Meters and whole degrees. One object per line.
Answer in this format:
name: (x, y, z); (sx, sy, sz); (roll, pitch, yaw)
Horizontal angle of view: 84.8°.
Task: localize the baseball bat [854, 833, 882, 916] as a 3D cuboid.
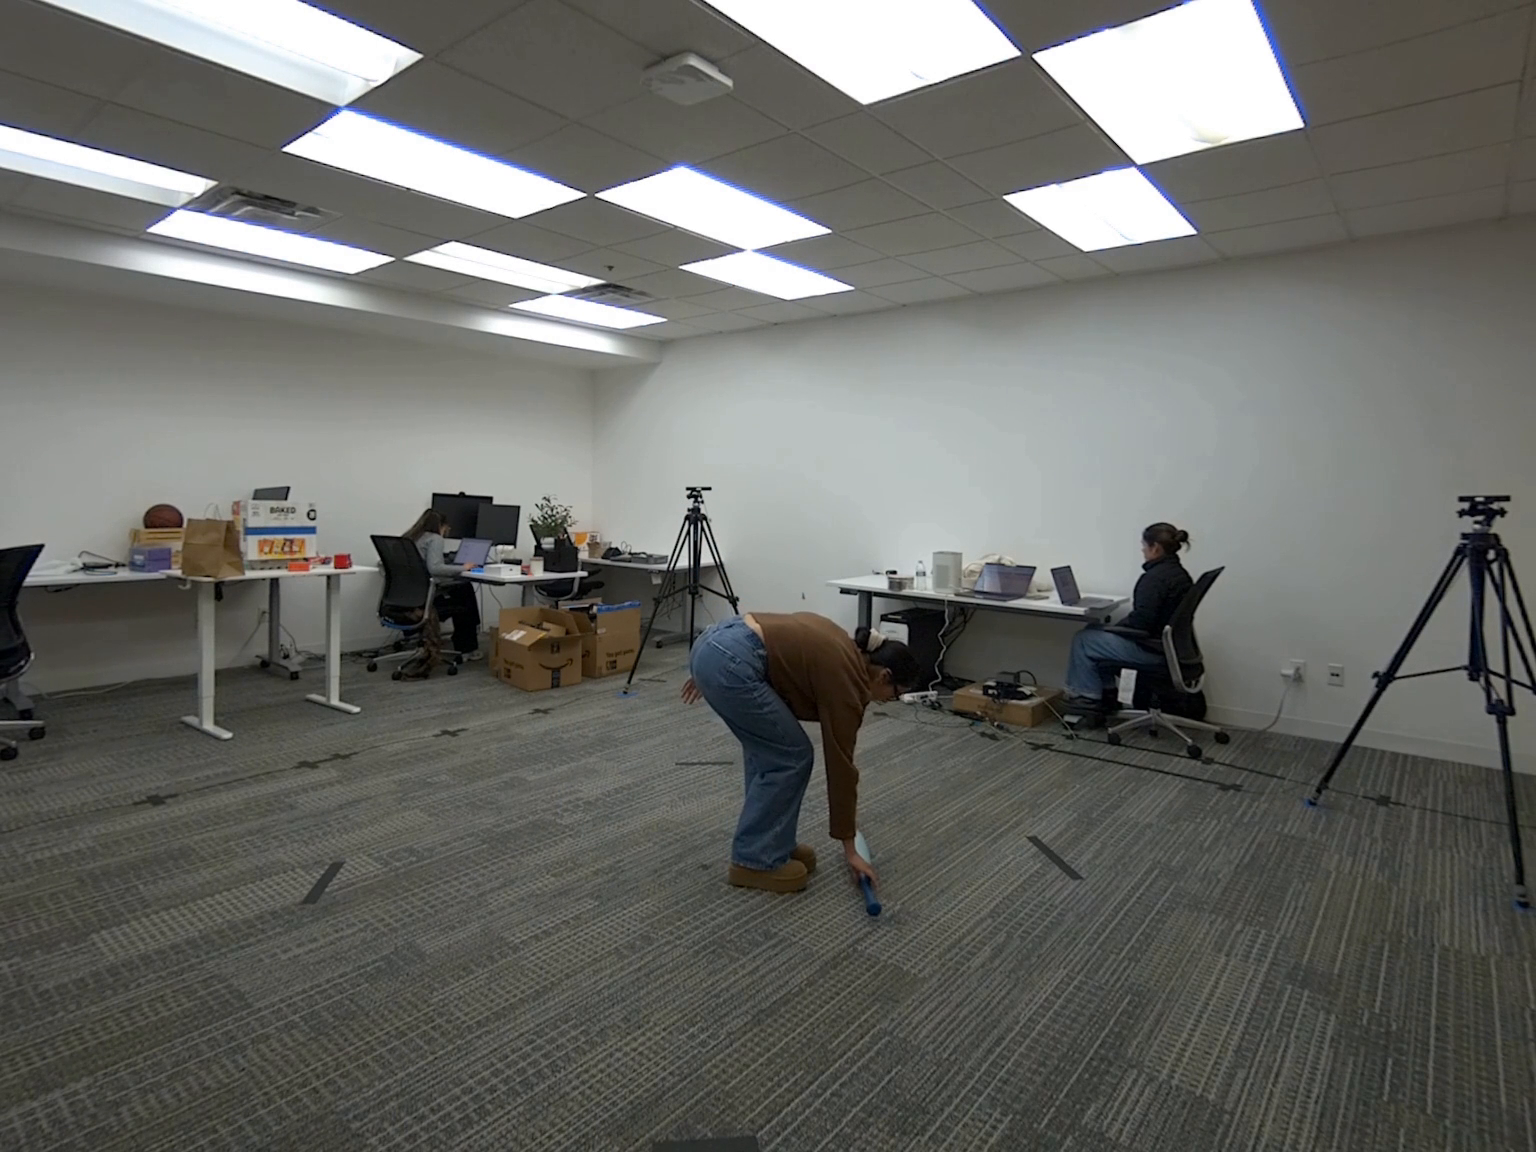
baseball bat: (0.323, 1.037, 3.009); (0.089, 0.088, 0.546); (1, 7, -2)
